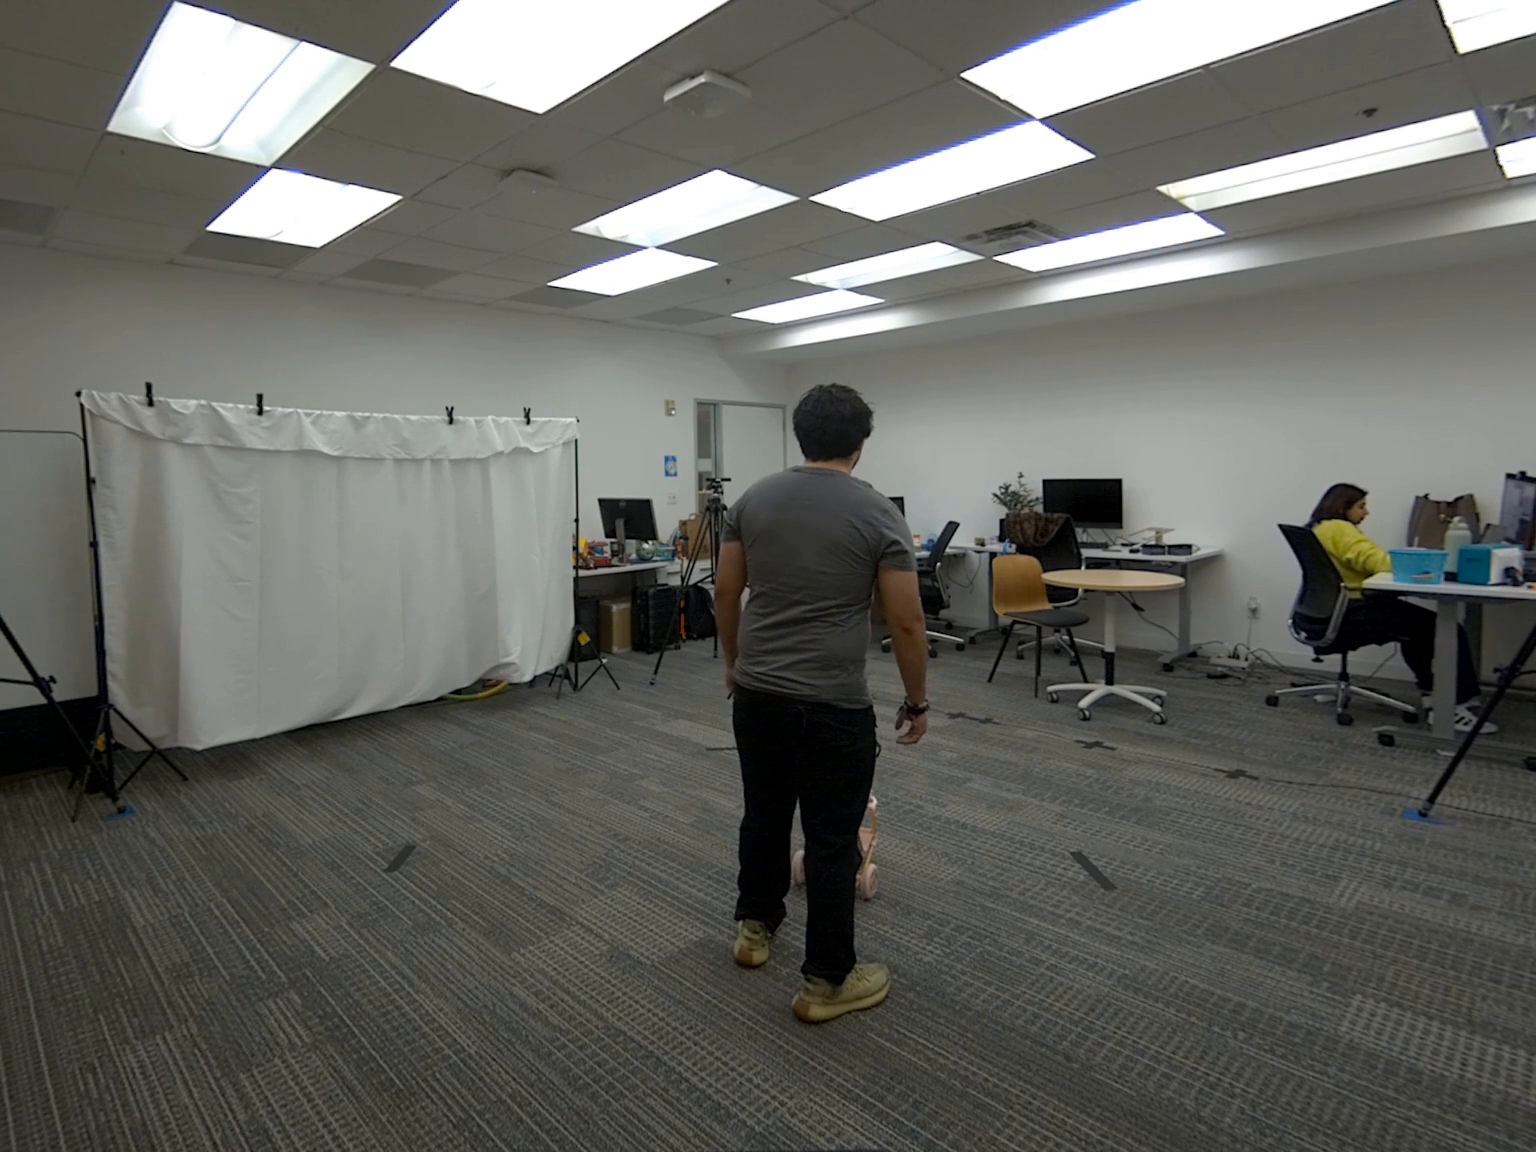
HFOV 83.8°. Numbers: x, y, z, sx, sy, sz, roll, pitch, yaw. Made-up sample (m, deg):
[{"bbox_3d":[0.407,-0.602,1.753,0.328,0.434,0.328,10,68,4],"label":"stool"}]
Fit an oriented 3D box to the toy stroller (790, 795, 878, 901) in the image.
[{"bbox_3d":[0.262,0.840,2.930,0.289,0.525,0.339,3,23,30],"label":"toy stroller"}]
